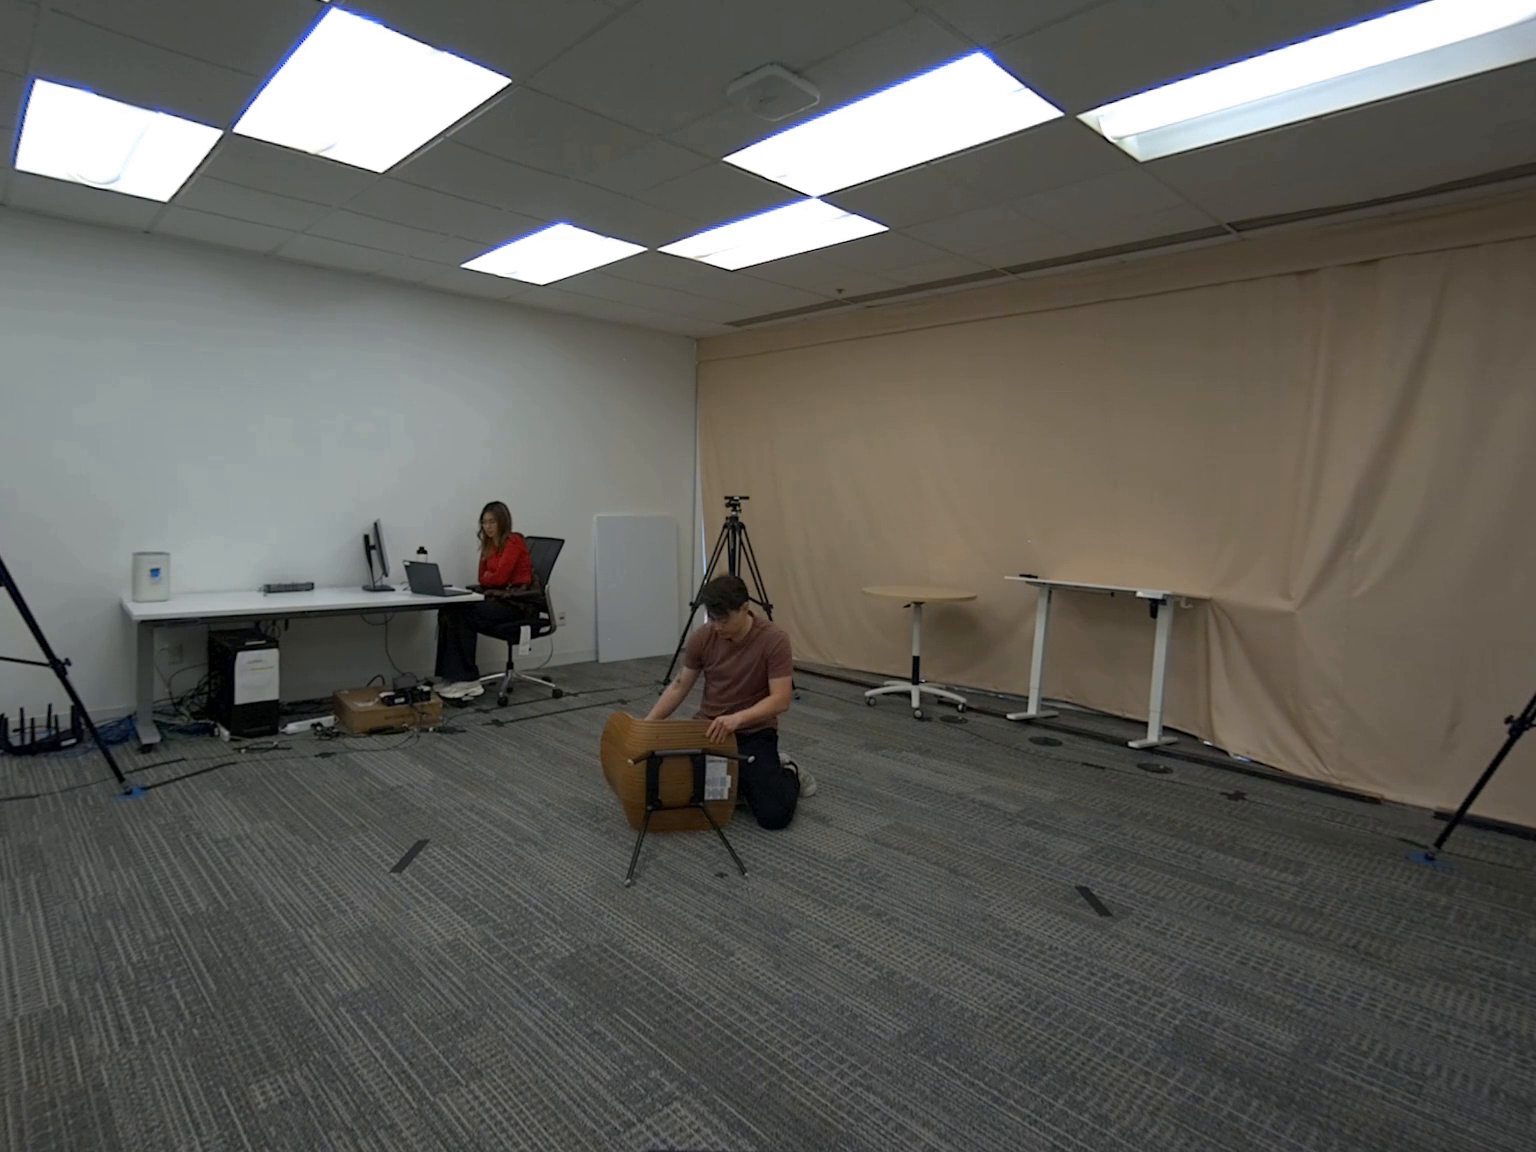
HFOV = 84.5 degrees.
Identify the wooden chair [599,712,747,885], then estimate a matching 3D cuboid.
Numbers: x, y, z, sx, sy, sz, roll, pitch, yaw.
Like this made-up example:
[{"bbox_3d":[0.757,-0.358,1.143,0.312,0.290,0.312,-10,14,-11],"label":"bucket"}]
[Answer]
[{"bbox_3d":[-0.381,0.842,3.438,0.516,0.476,0.892,1,5,-17],"label":"wooden chair"}]
